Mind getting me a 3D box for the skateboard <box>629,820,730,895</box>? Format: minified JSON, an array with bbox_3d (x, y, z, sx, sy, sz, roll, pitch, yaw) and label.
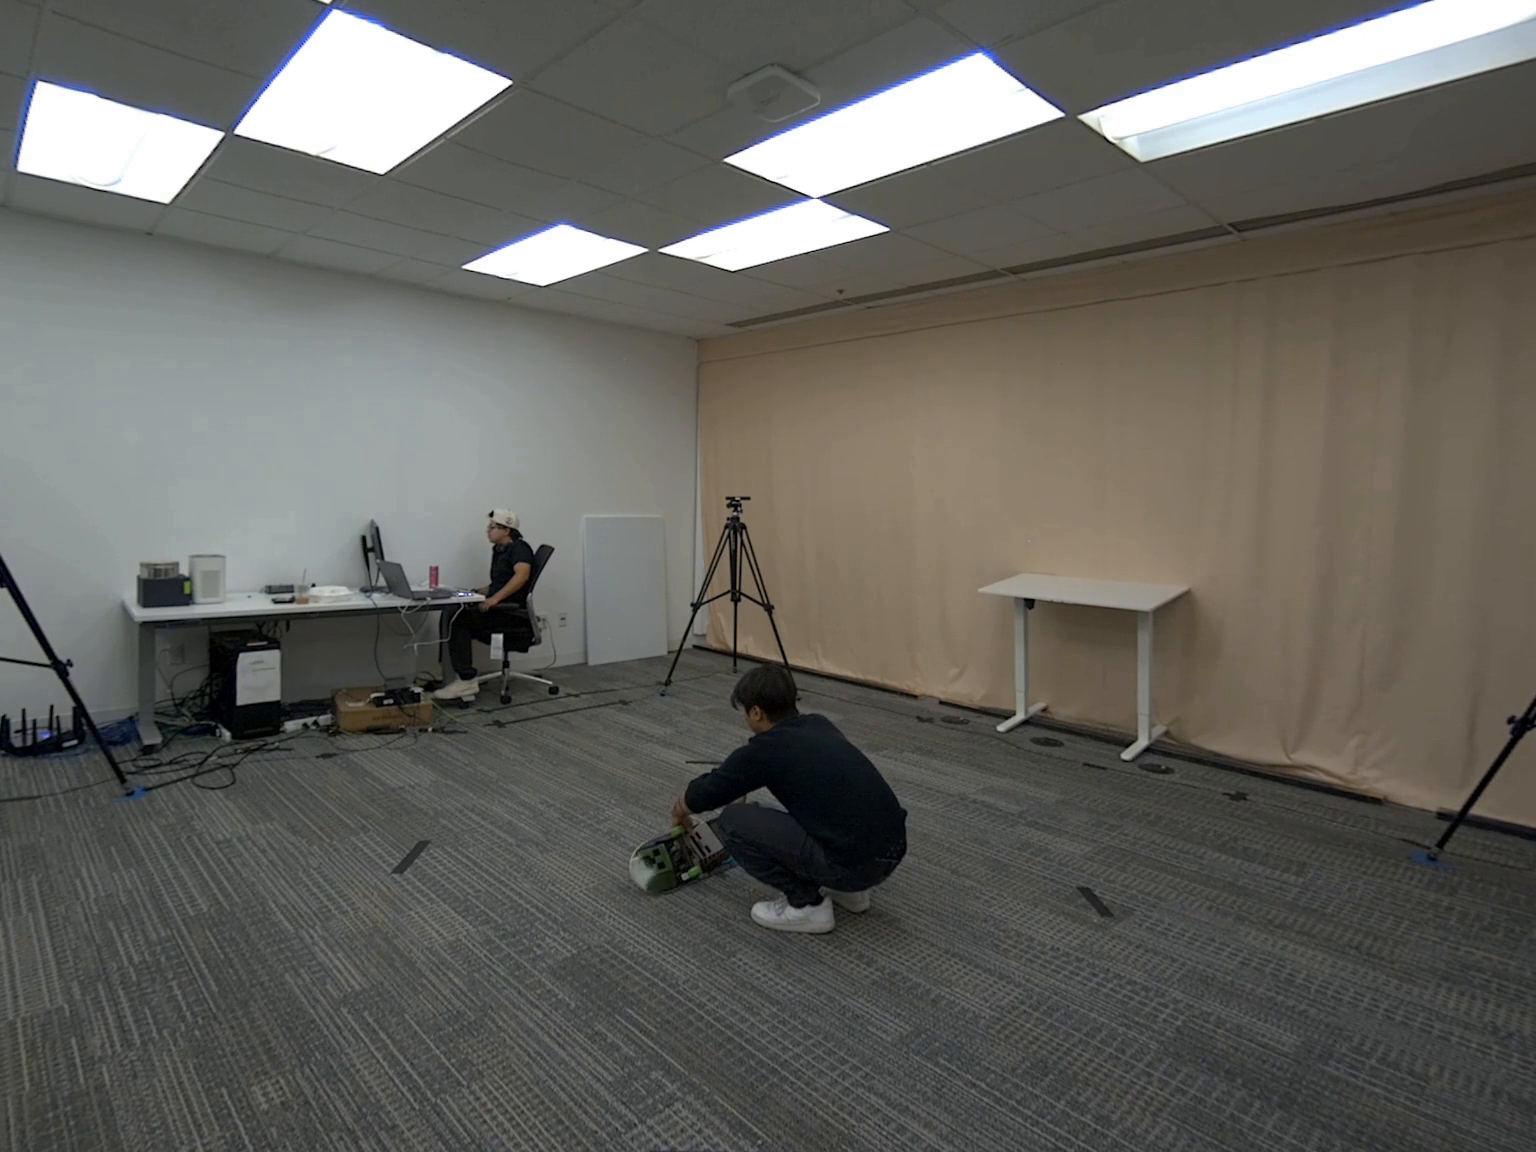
[{"bbox_3d":[-0.188,1.001,3.195,0.768,0.198,0.110,-5,-35,-44],"label":"skateboard"}]
